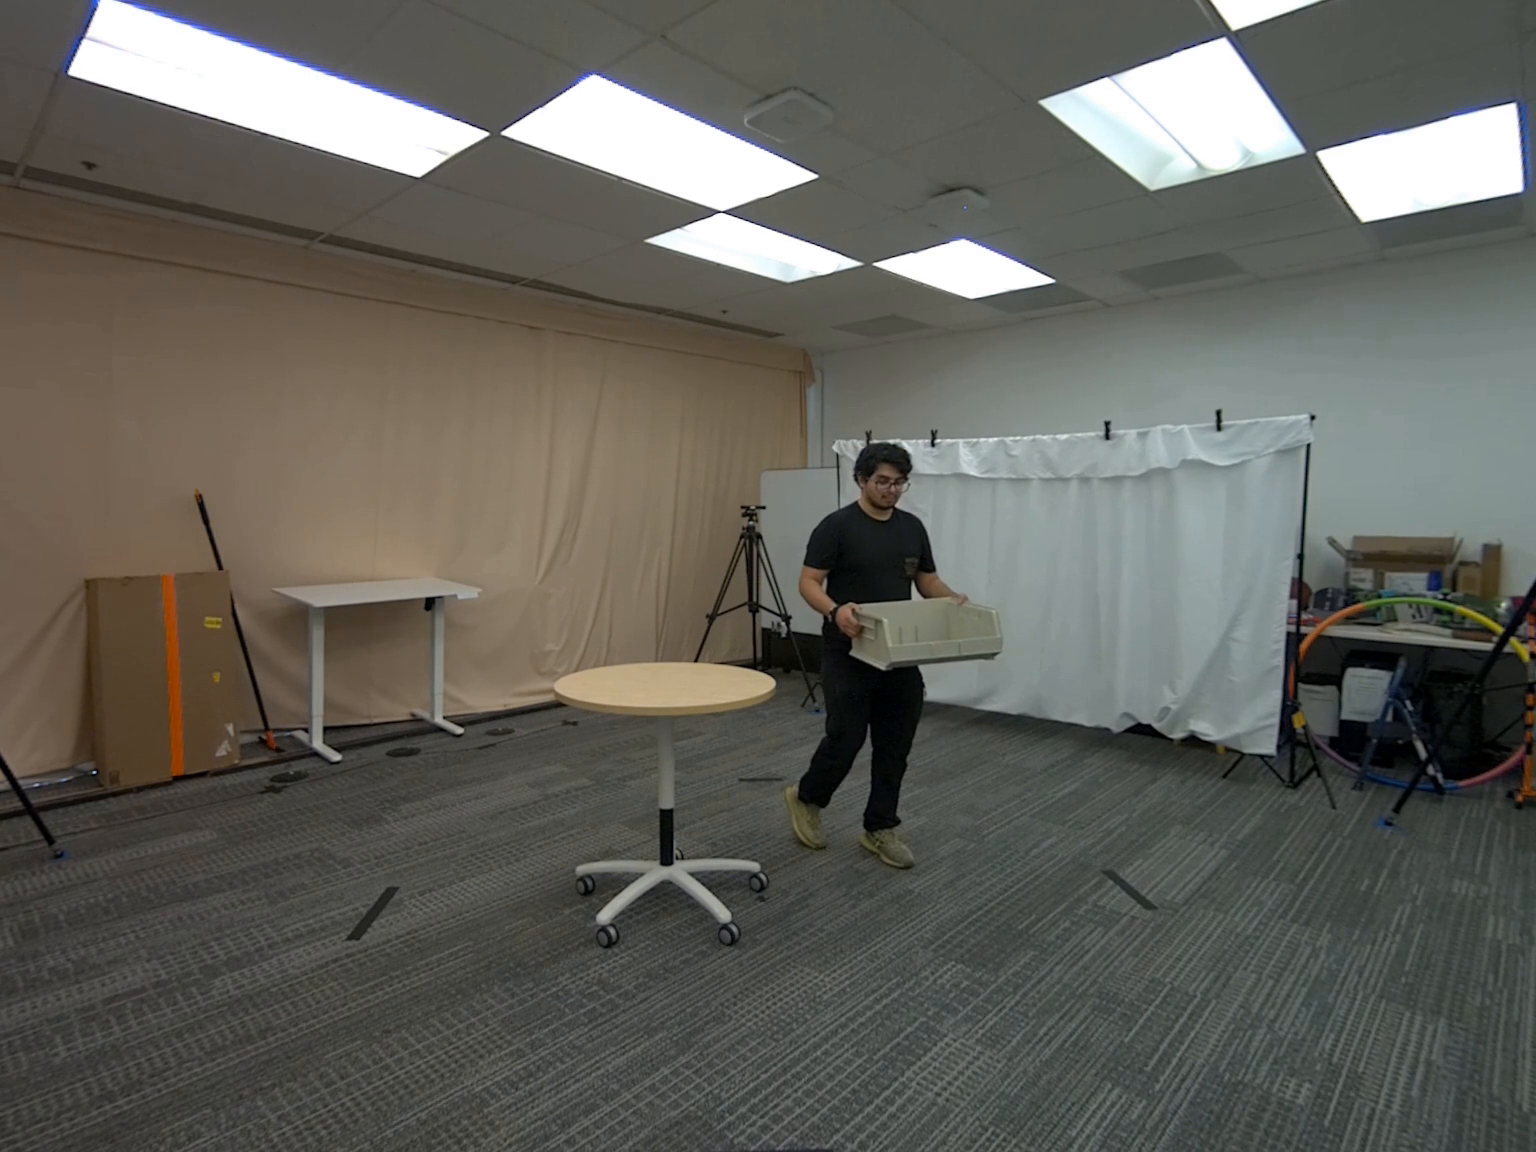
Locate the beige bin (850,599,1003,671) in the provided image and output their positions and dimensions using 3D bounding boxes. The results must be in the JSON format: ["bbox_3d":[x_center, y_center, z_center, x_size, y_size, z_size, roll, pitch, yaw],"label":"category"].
[{"bbox_3d":[0.538,0.204,2.964,0.417,0.188,0.384,-4,5,-14],"label":"beige bin"}]
